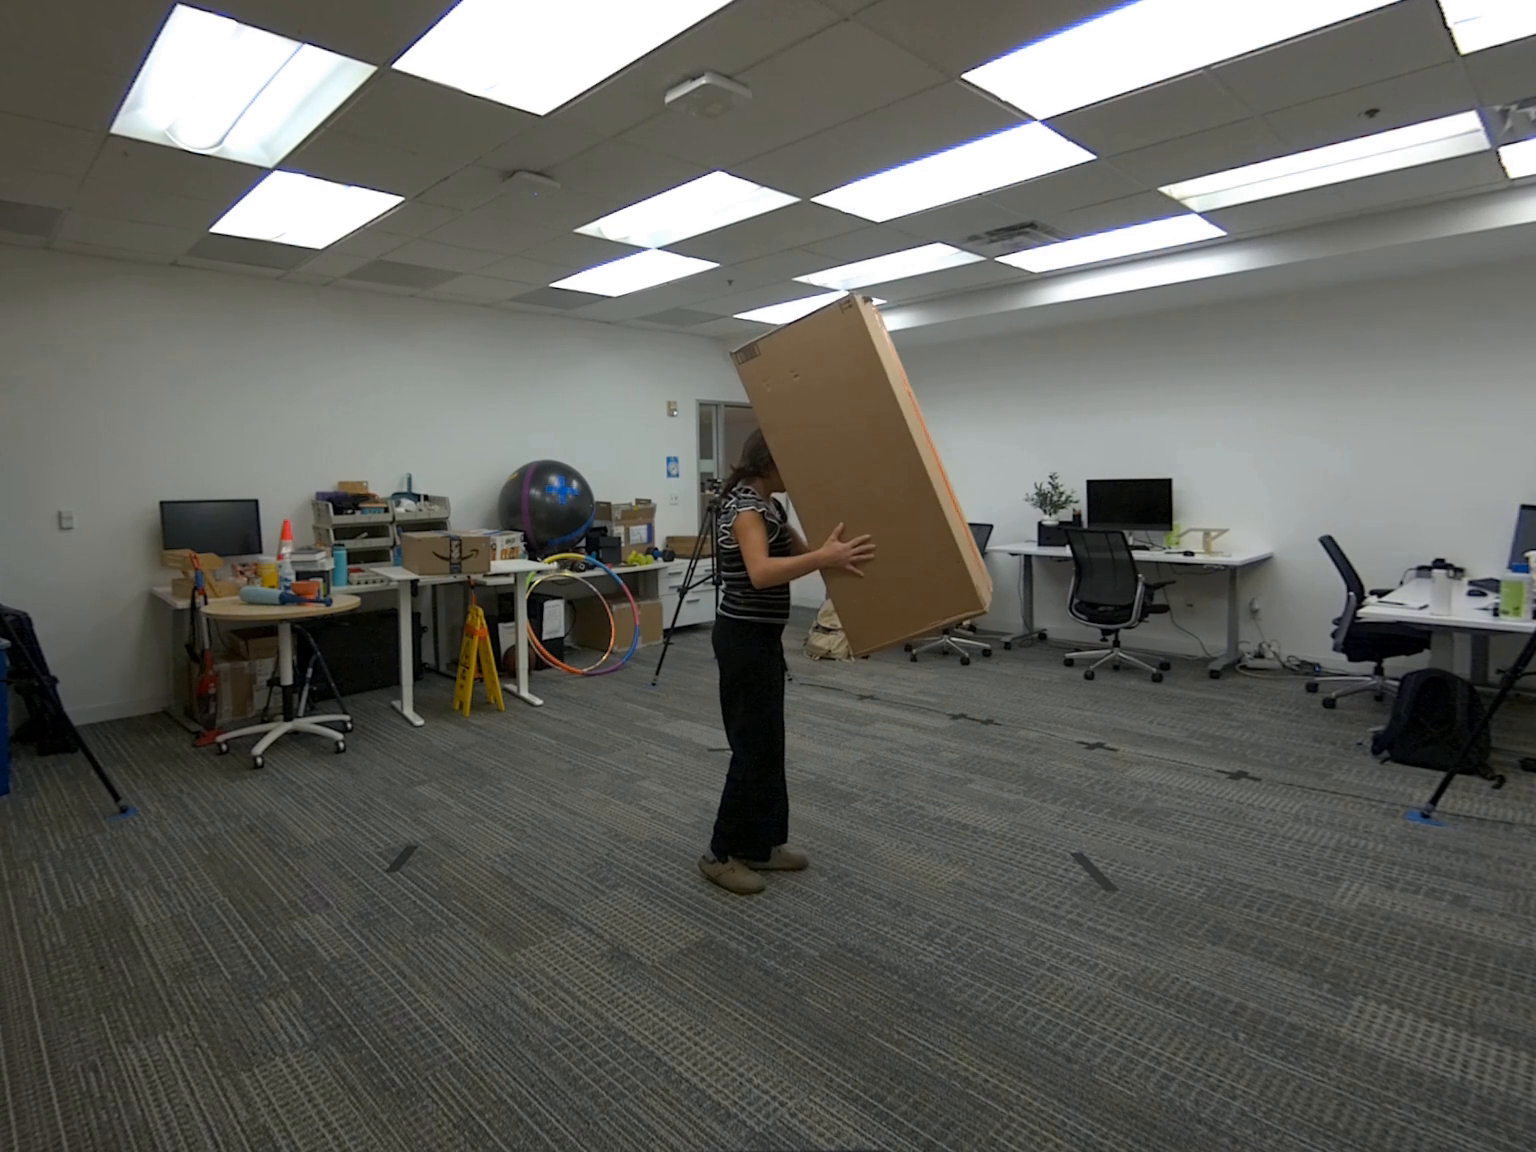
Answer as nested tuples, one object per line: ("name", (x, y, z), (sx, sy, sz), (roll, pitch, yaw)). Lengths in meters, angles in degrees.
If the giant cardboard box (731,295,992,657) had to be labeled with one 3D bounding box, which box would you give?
("giant cardboard box", (0.336, -0.327, 2.826), (0.430, 1.027, 0.571), (-23, 0, 19))
